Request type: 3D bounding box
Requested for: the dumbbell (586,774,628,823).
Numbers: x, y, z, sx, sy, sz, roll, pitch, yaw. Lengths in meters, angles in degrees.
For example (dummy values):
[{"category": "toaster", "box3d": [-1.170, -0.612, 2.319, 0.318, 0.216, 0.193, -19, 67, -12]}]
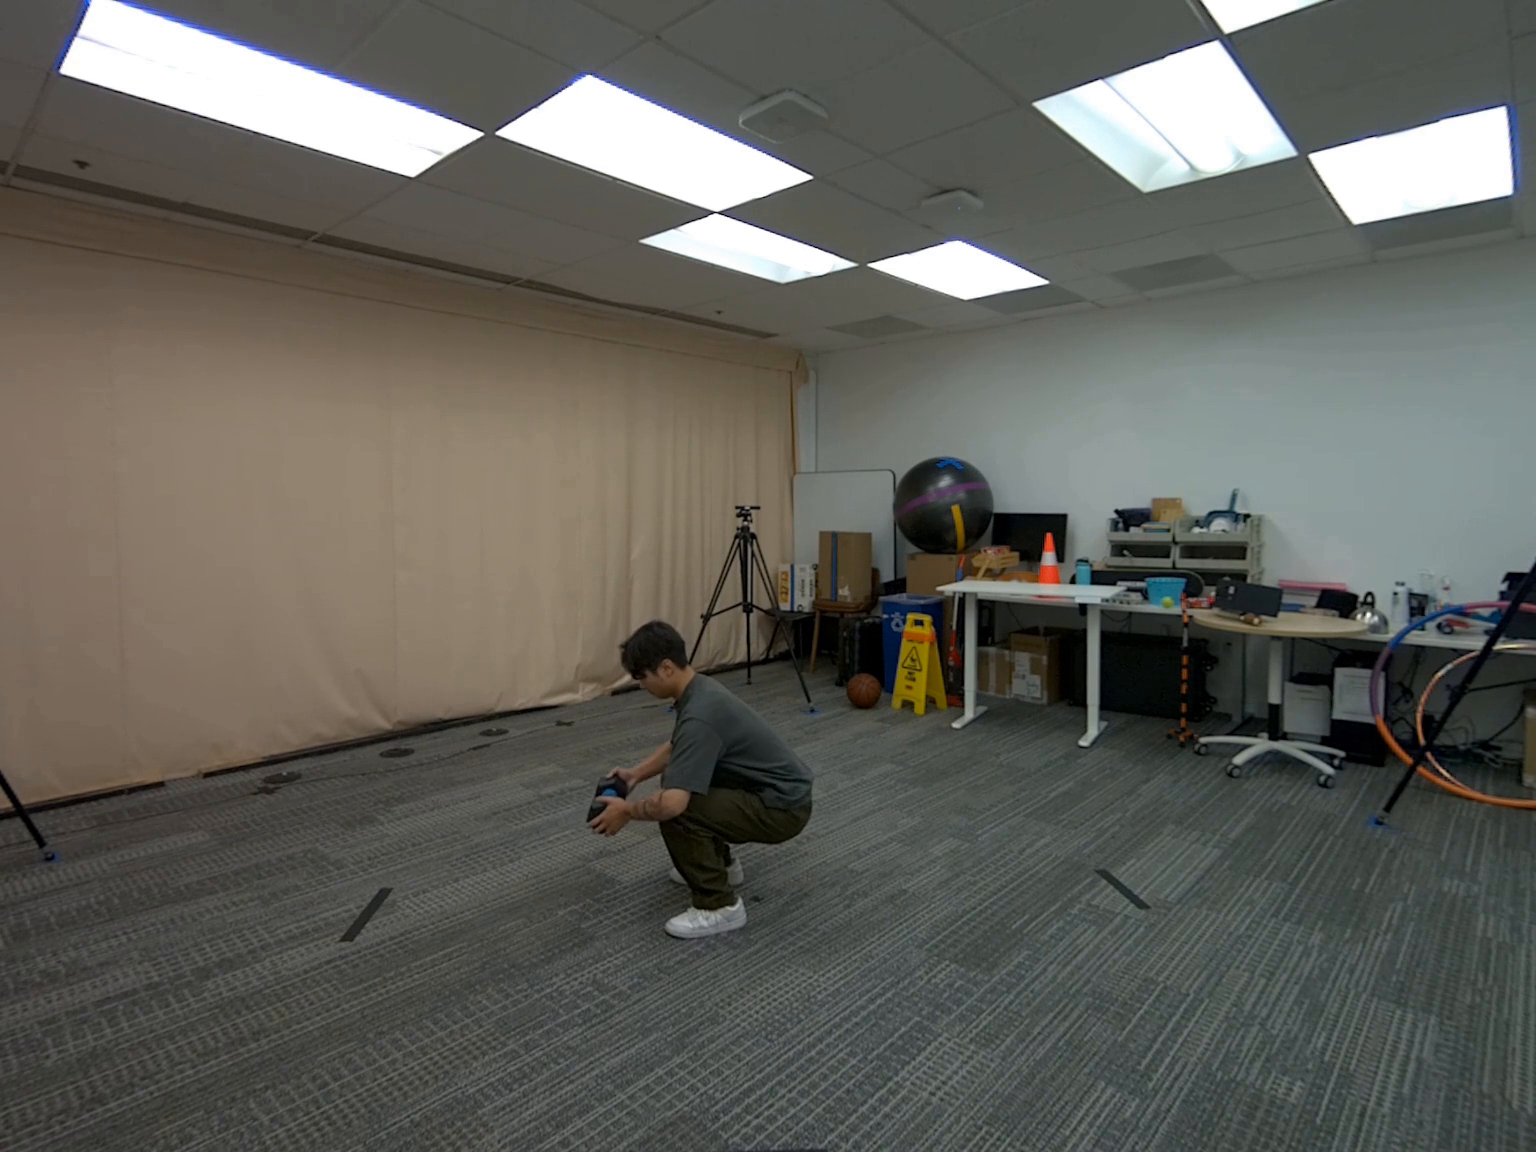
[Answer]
[{"category": "dumbbell", "box3d": [-0.546, 0.802, 2.937, 0.122, 0.108, 0.295, -11, 6, -4]}]
